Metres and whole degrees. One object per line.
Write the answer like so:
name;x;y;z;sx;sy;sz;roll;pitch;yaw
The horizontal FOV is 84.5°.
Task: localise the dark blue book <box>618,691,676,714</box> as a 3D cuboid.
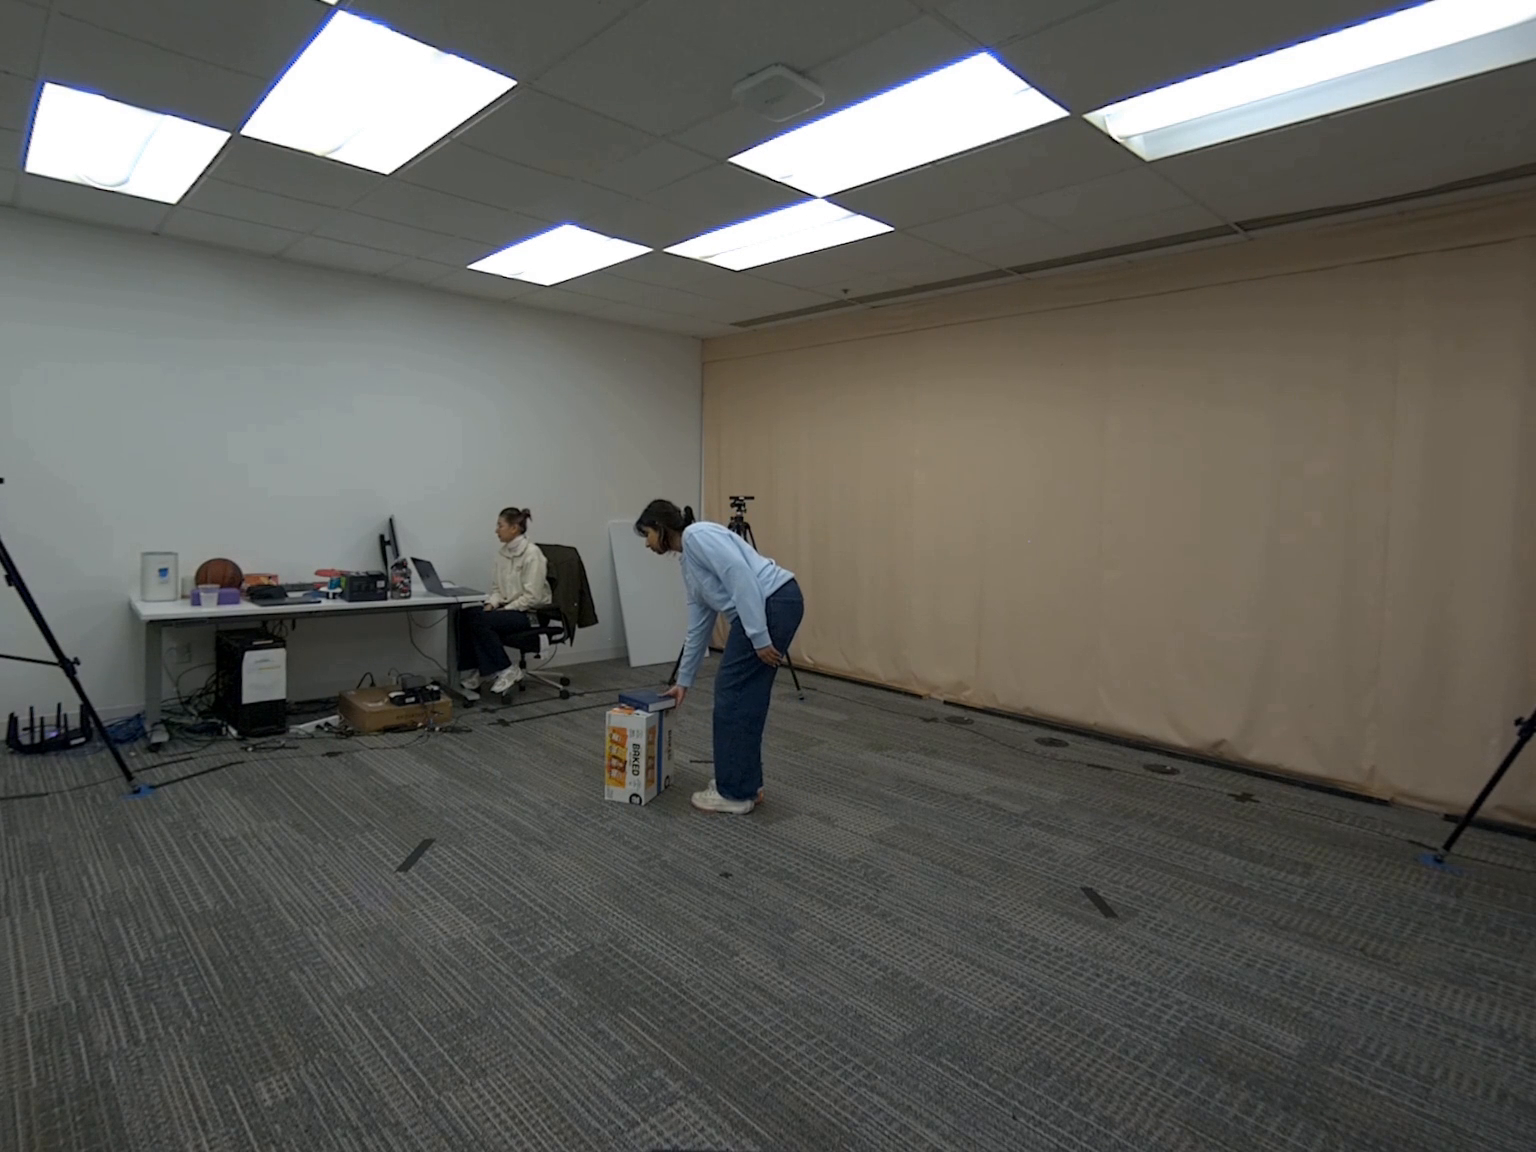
dark blue book;-0.573;0.580;3.973;0.160;0.045;0.251;-5;7;-44
